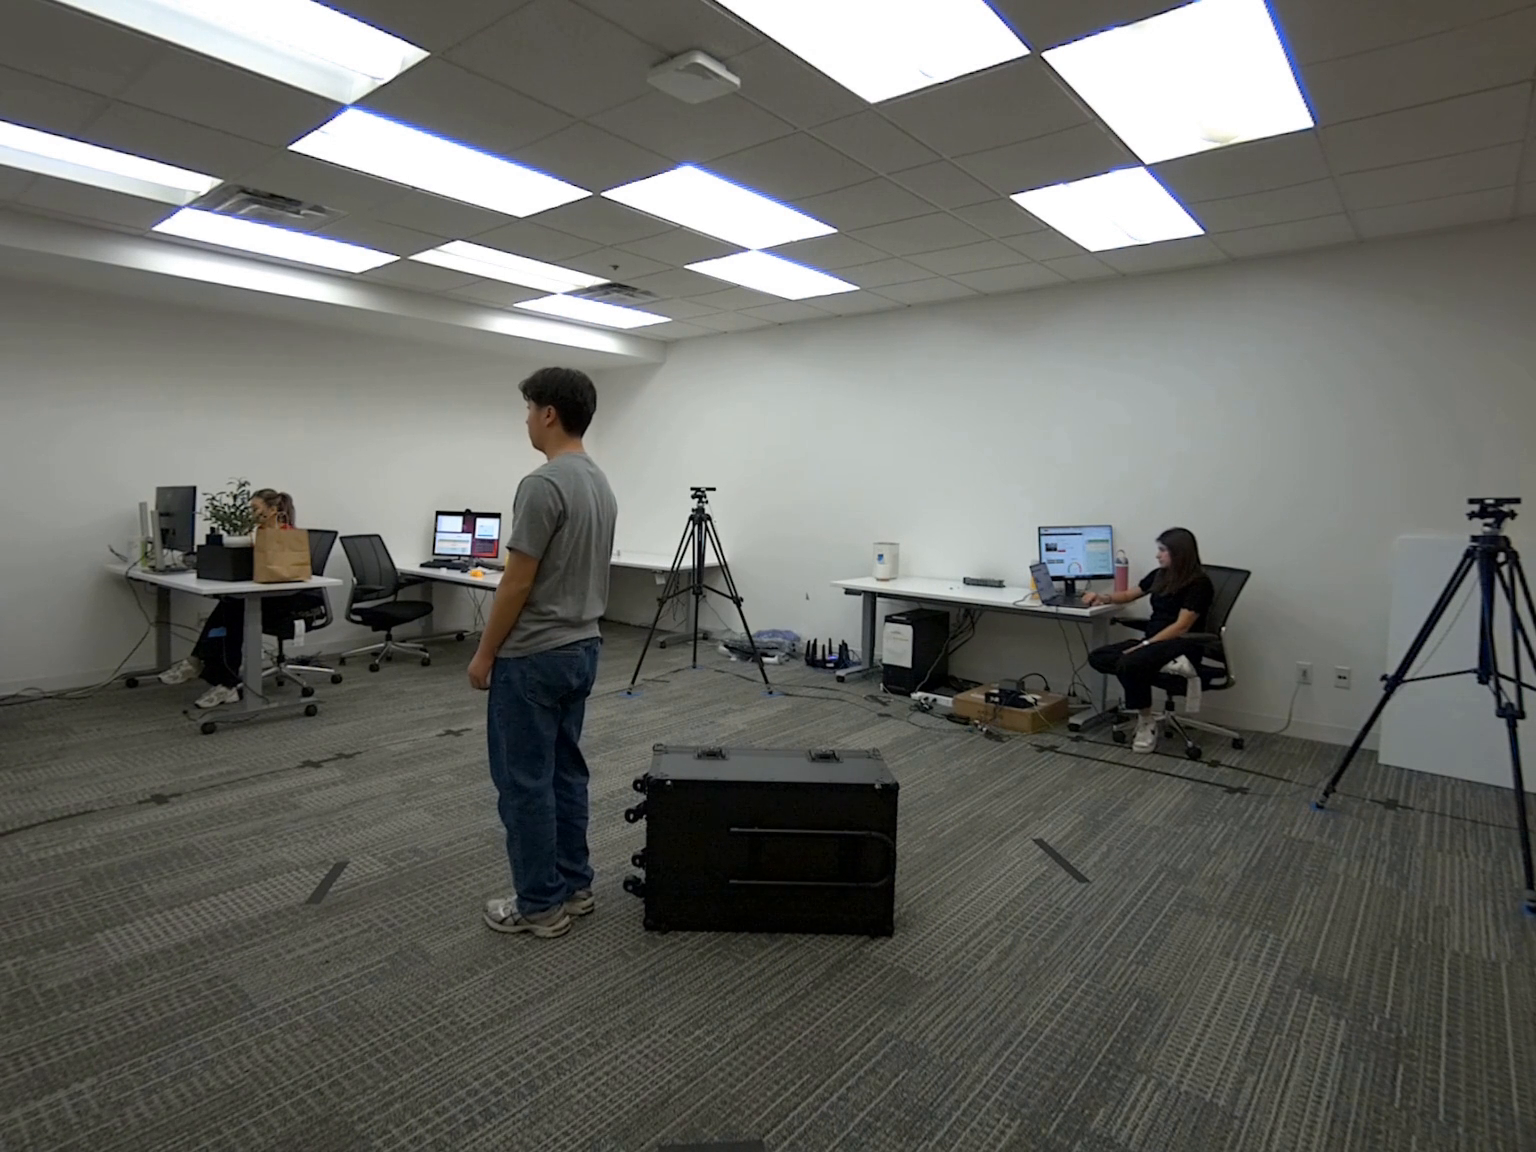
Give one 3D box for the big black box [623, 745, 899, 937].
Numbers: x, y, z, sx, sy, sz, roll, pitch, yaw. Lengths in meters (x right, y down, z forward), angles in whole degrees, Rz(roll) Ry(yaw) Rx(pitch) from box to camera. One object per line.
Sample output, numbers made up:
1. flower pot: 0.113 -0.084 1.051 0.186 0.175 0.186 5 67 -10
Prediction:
1. big black box: -0.040 0.855 2.807 0.861 0.520 0.397 0 3 0
